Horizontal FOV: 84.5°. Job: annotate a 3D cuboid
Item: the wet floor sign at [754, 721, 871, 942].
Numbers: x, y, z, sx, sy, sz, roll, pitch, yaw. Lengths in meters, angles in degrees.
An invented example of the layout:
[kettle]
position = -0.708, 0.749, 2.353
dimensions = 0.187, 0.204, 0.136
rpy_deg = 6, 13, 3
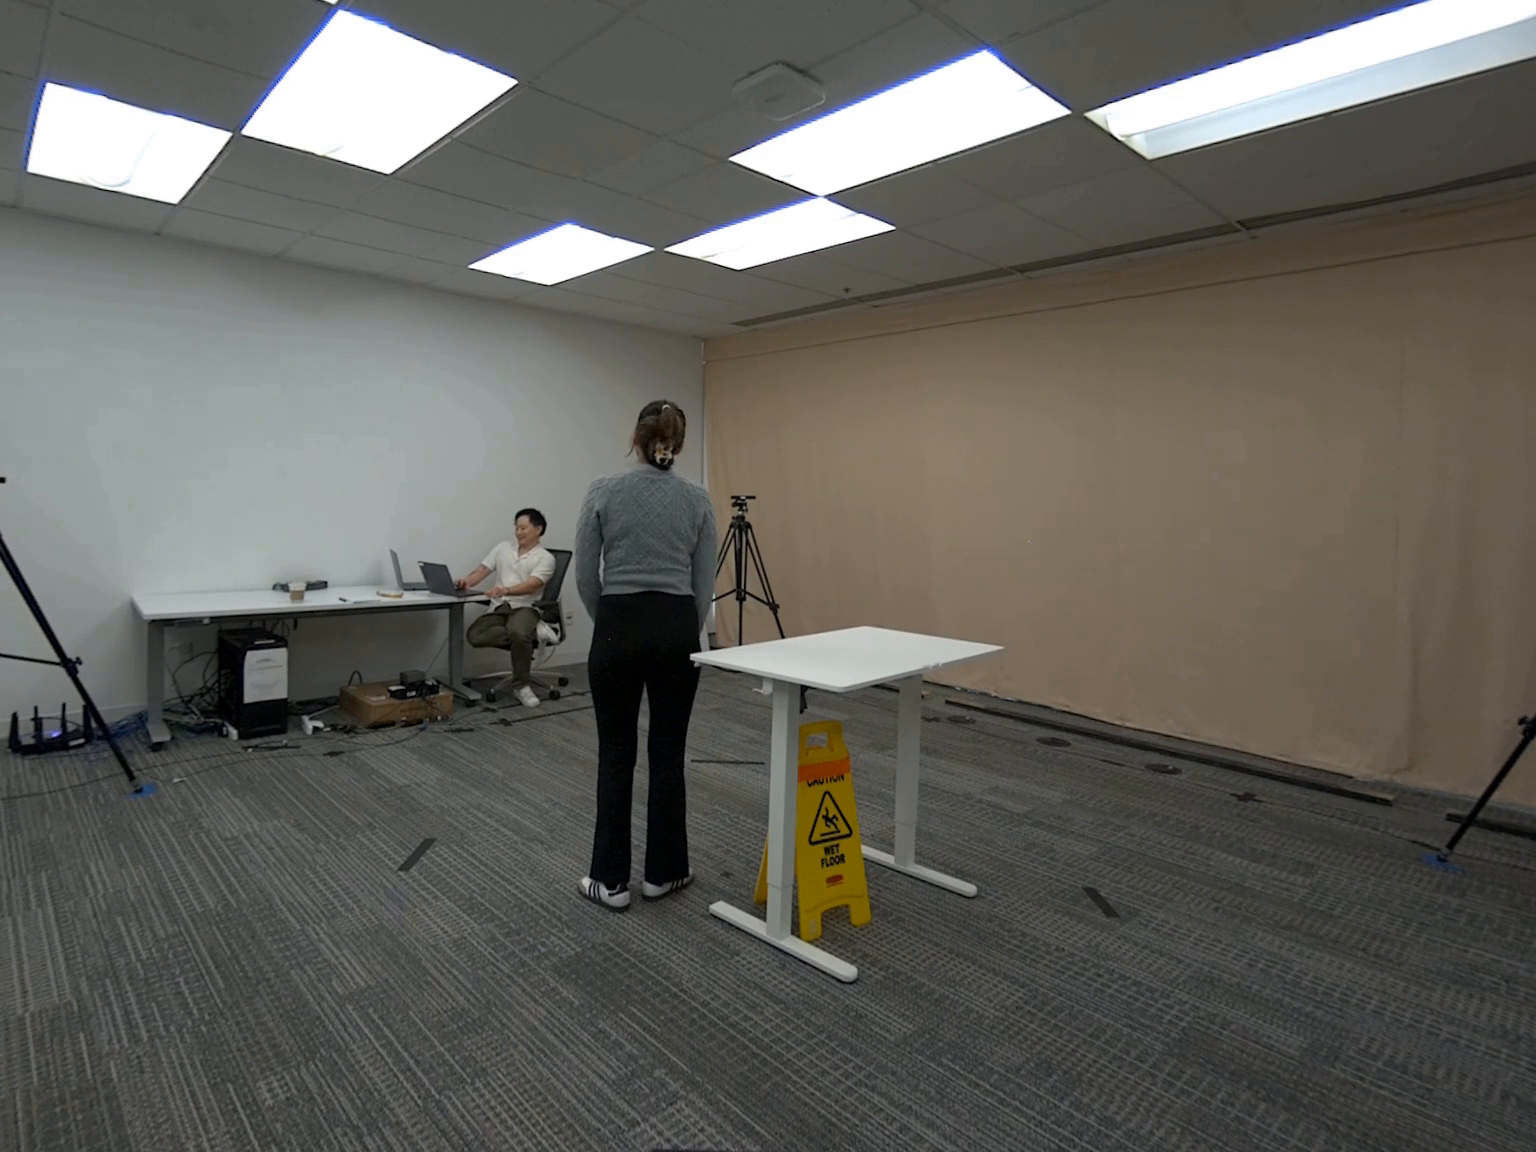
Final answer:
[wet floor sign]
position = 0.152, 0.813, 2.813
dimensions = 0.276, 0.644, 0.297
rpy_deg = -1, 5, -32
